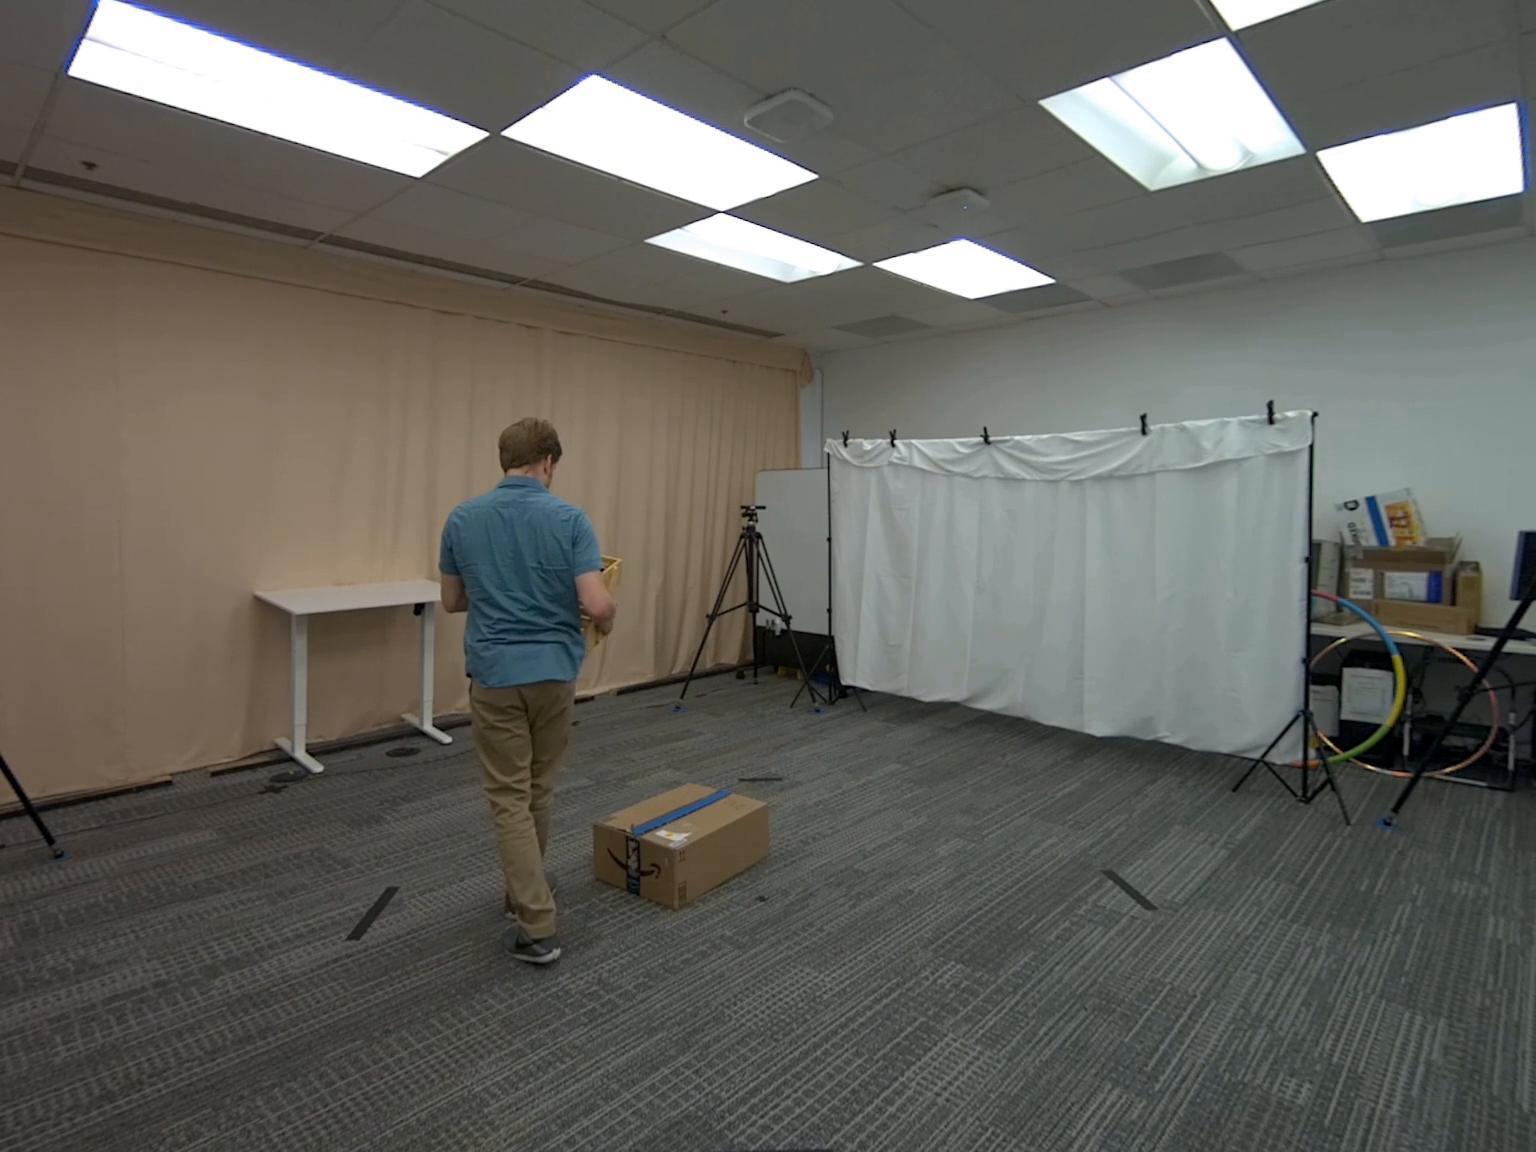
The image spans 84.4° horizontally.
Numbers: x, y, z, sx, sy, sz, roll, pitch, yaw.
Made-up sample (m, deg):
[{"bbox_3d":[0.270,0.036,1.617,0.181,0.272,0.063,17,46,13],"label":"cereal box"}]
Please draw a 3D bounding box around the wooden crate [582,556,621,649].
[{"bbox_3d":[-0.733,0.078,2.974,0.330,0.270,0.300,12,22,14],"label":"wooden crate"}]
